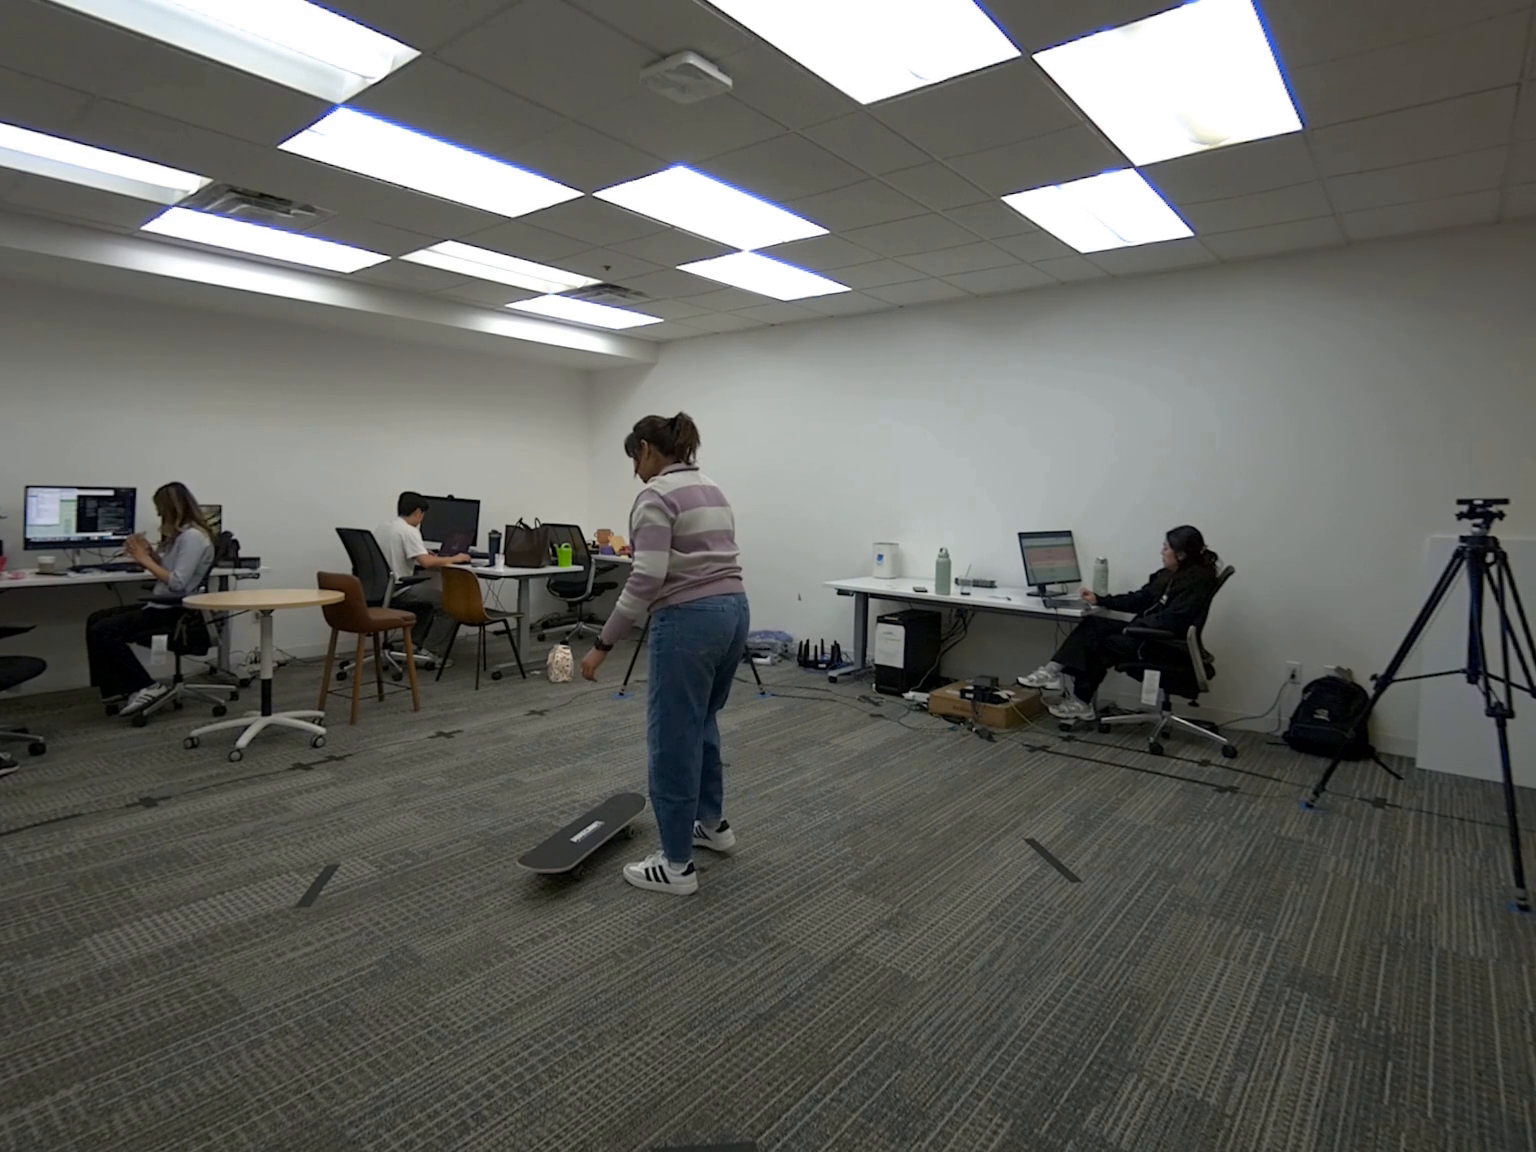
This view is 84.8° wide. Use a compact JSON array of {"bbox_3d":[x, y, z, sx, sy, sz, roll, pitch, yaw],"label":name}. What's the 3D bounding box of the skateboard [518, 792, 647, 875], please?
[{"bbox_3d":[-0.697,0.995,3.217,0.197,0.110,0.772,4,6,18],"label":"skateboard"}]
